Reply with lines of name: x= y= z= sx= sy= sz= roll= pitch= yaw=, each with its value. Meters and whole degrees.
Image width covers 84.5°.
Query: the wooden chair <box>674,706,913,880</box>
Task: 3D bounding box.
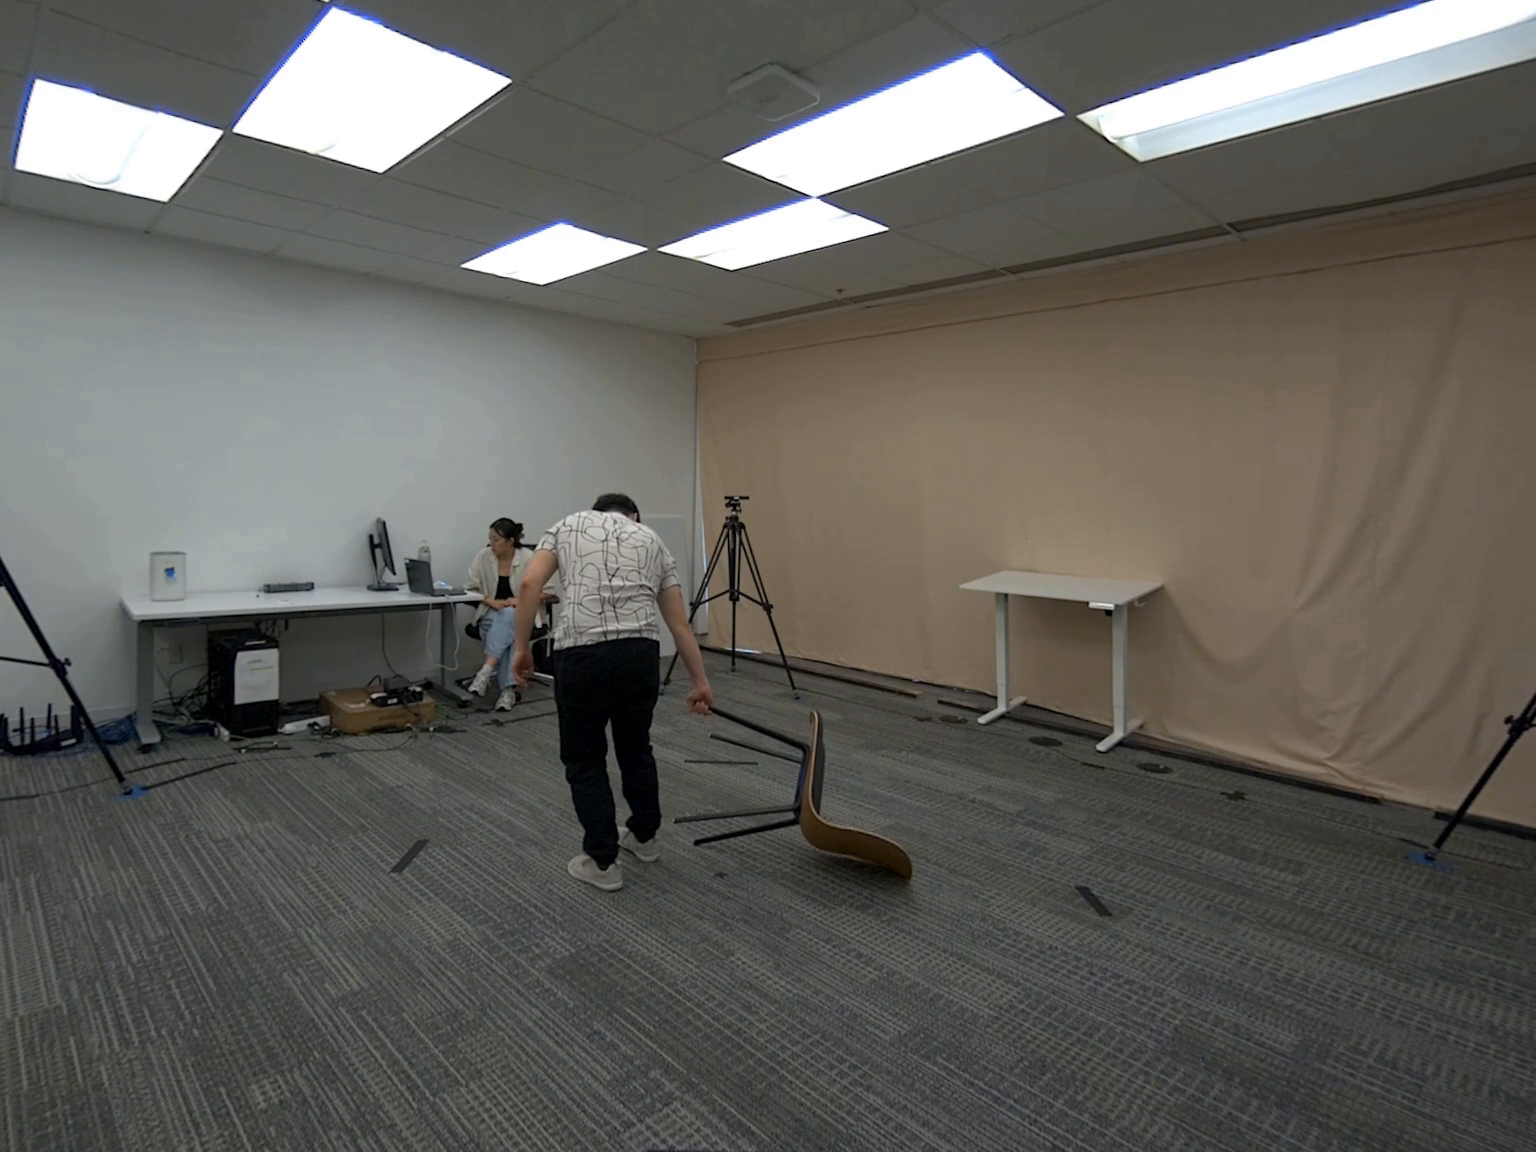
wooden chair: x=0.127 y=0.802 z=3.217 sx=0.887 sy=0.530 sz=0.467 roll=8 pitch=-27 yaw=12
